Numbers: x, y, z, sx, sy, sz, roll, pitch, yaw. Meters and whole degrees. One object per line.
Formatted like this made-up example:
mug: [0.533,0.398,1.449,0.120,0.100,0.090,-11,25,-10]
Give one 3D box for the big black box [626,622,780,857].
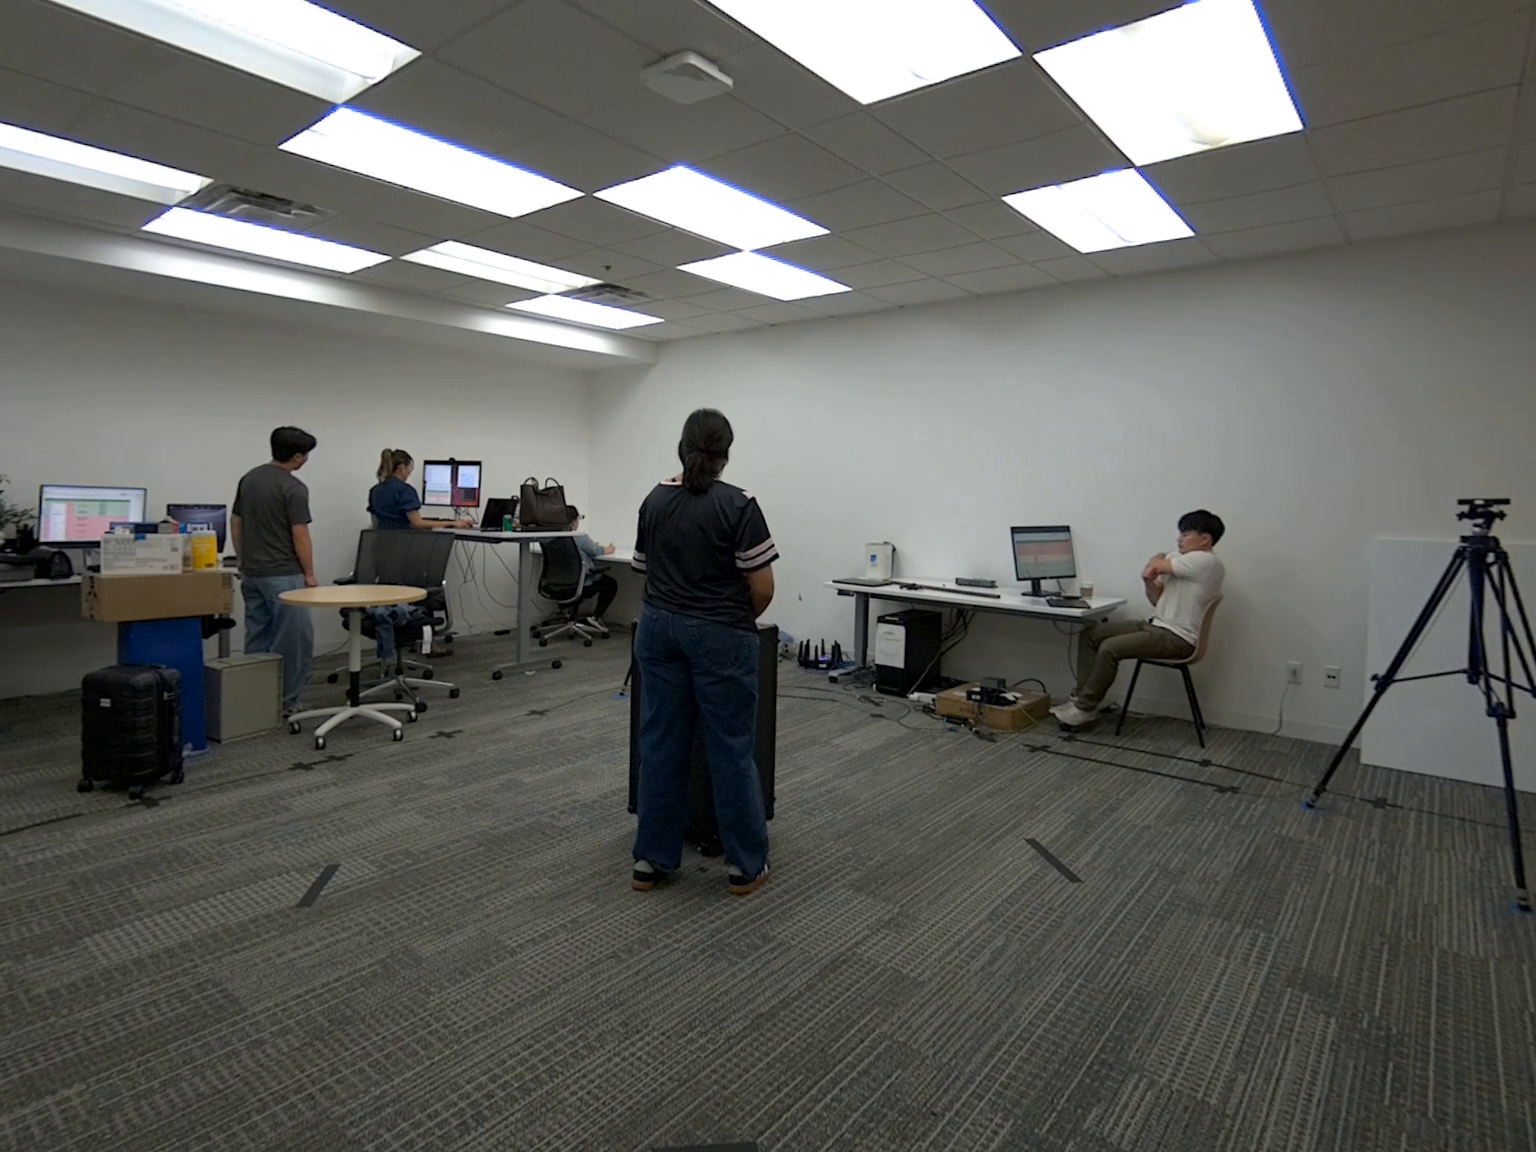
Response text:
big black box: [-0.280,0.613,3.440,0.541,0.866,0.374,4,3,38]
